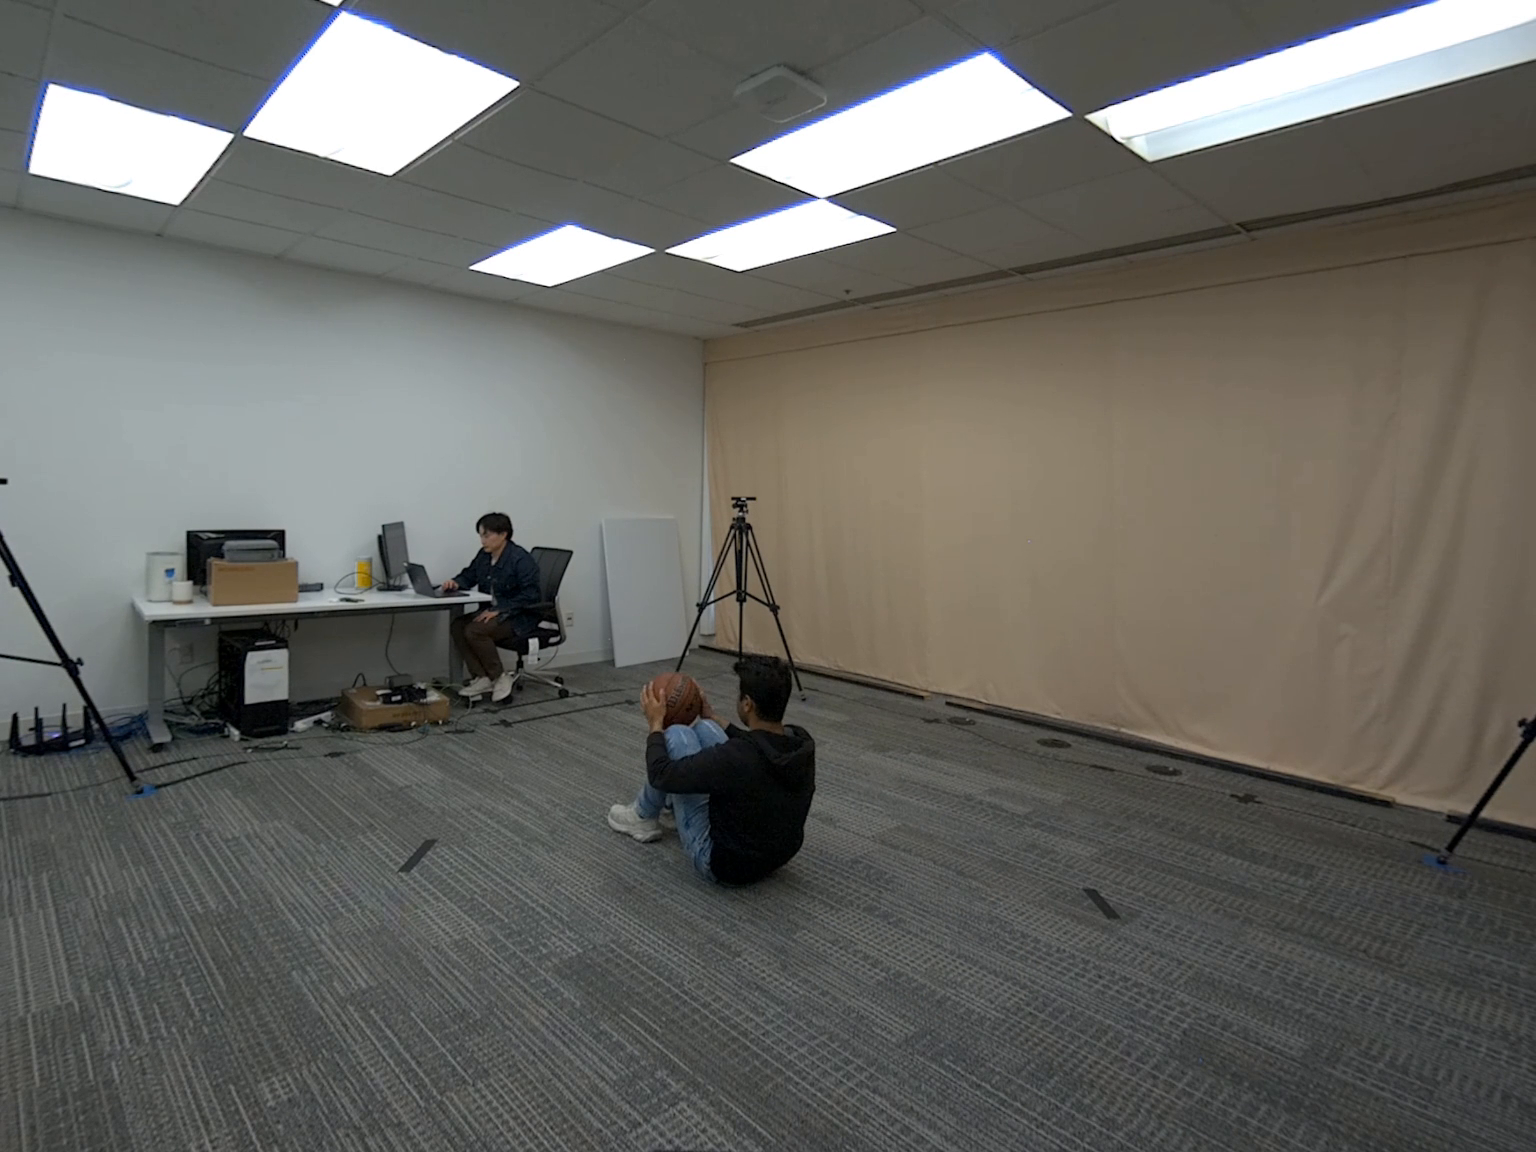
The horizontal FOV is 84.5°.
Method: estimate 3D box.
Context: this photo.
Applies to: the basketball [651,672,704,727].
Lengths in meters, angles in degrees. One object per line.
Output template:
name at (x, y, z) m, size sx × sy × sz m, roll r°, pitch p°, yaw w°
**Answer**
basketball at (-0.389, 0.520, 3.417) m, size 0.236 × 0.235 × 0.237 m, roll 1°, pitch 4°, yaw -1°
